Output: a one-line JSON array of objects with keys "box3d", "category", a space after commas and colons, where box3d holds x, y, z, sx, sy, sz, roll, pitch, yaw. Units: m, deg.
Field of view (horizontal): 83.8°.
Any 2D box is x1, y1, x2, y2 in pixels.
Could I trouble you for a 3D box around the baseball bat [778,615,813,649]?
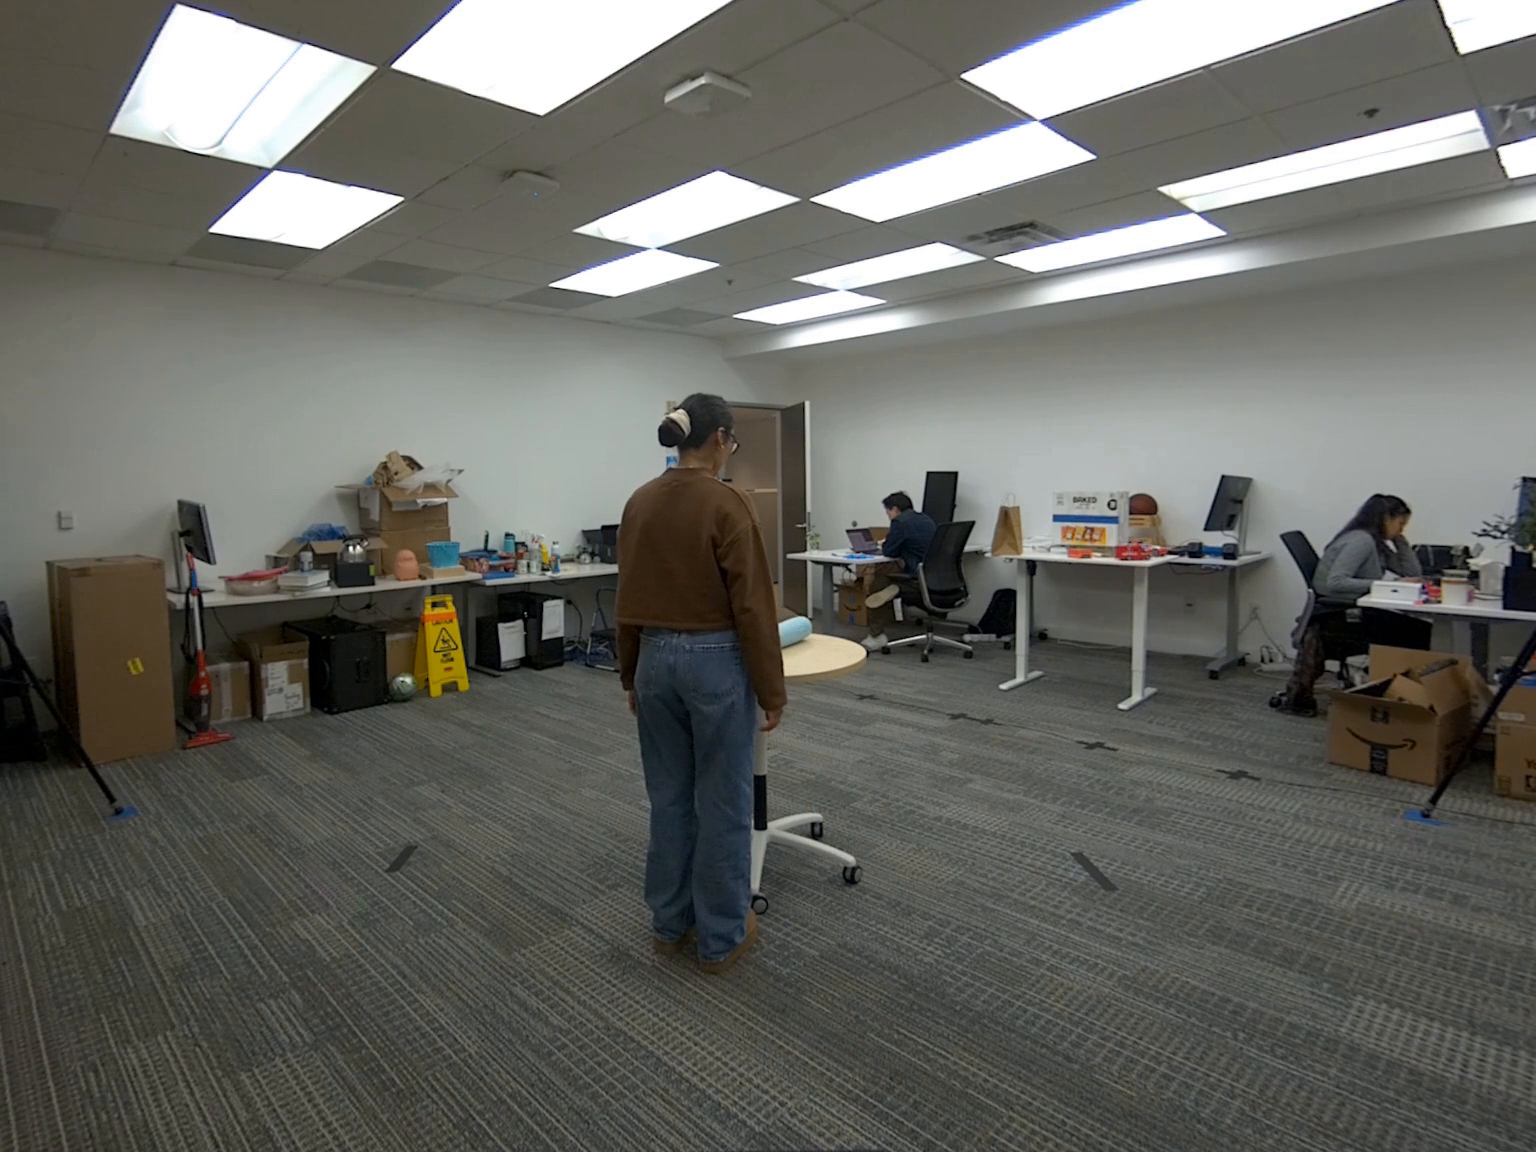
[{"box3d": [-0.005, 0.239, 3.013, 0.091, 0.088, 0.532, 2, 11, 33], "category": "baseball bat"}]
